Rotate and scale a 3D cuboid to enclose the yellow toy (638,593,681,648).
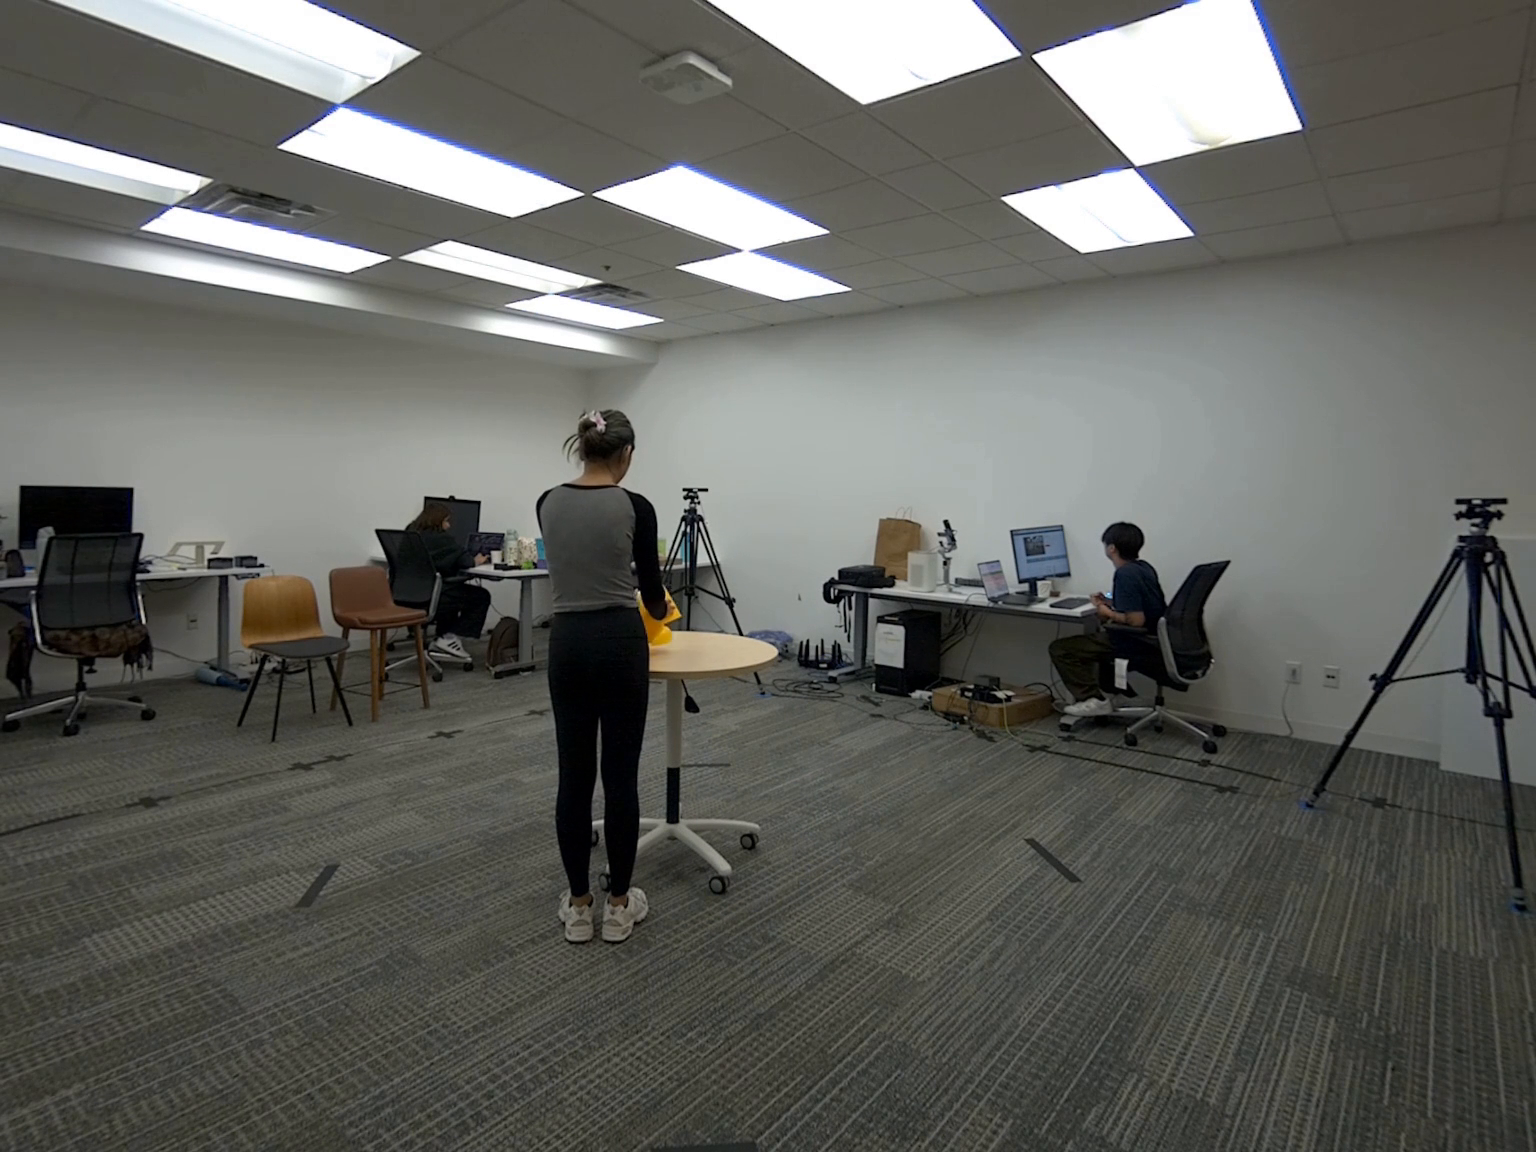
[{"bbox_3d":[-0.449,0.110,3.103,0.209,0.229,0.190,5,7,18],"label":"yellow toy"}]
